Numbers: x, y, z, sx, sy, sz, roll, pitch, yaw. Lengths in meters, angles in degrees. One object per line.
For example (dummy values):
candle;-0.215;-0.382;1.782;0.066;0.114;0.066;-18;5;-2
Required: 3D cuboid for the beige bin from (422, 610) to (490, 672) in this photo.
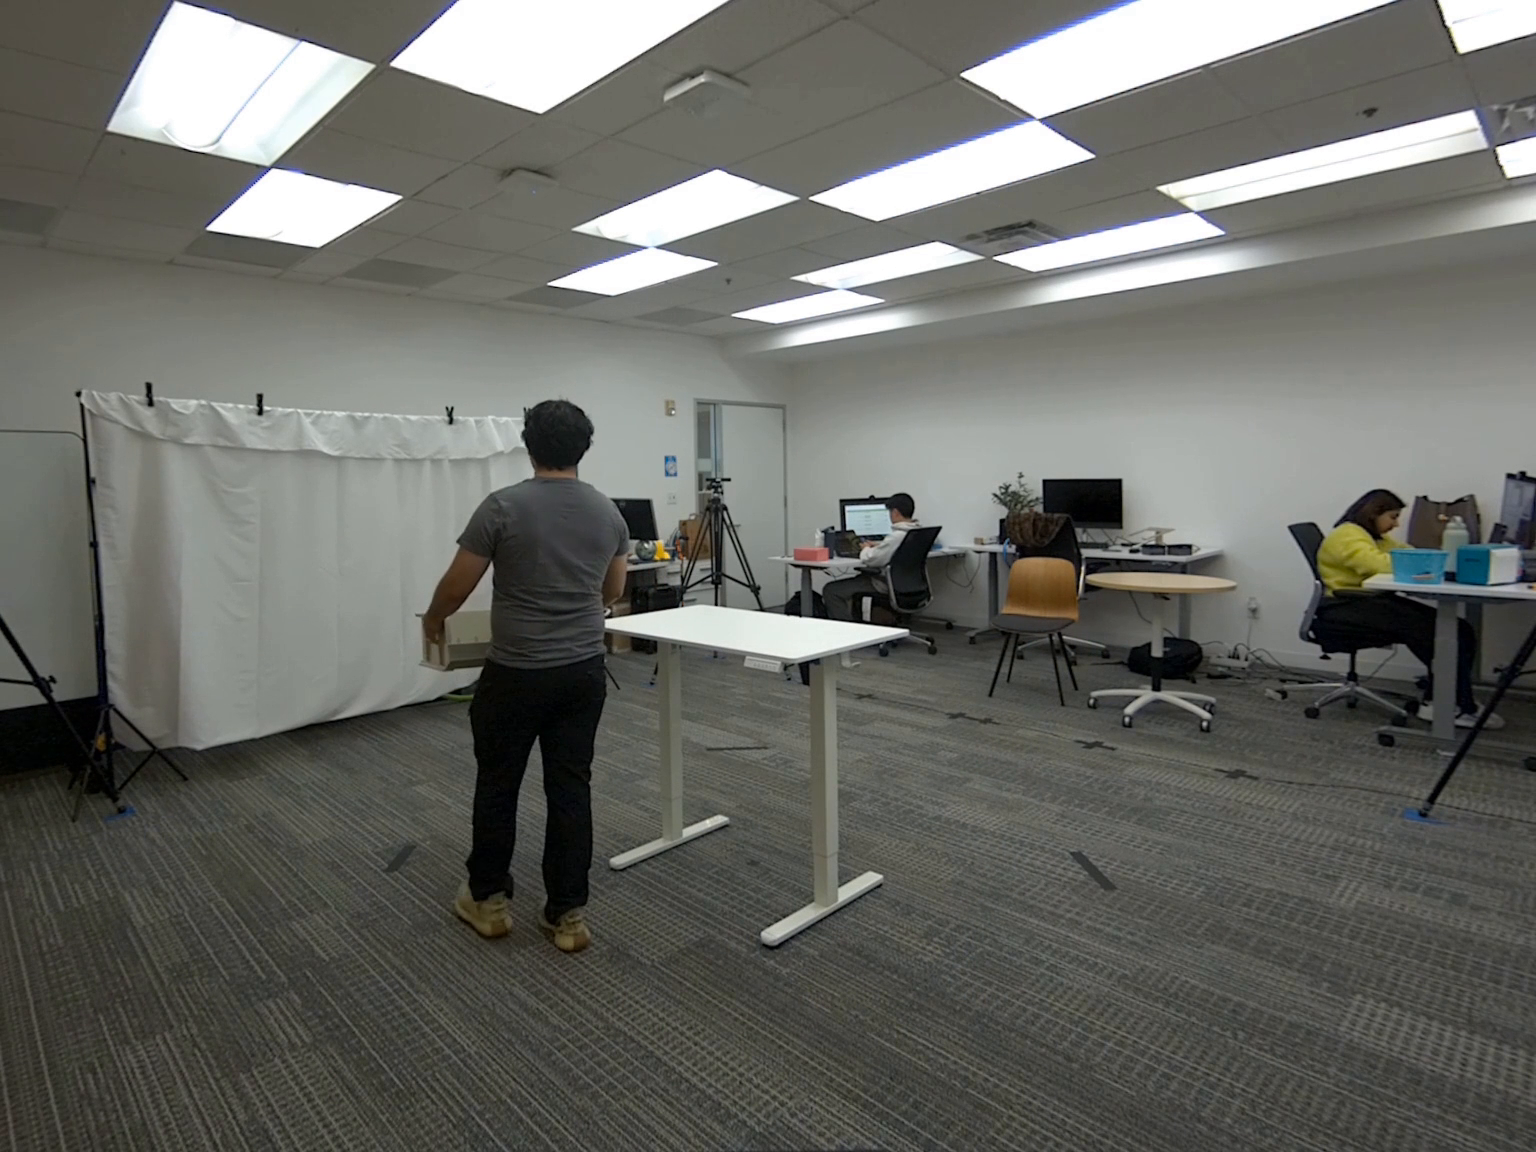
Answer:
beige bin;-0.937;0.202;2.922;0.412;0.189;0.387;-6;2;-35
